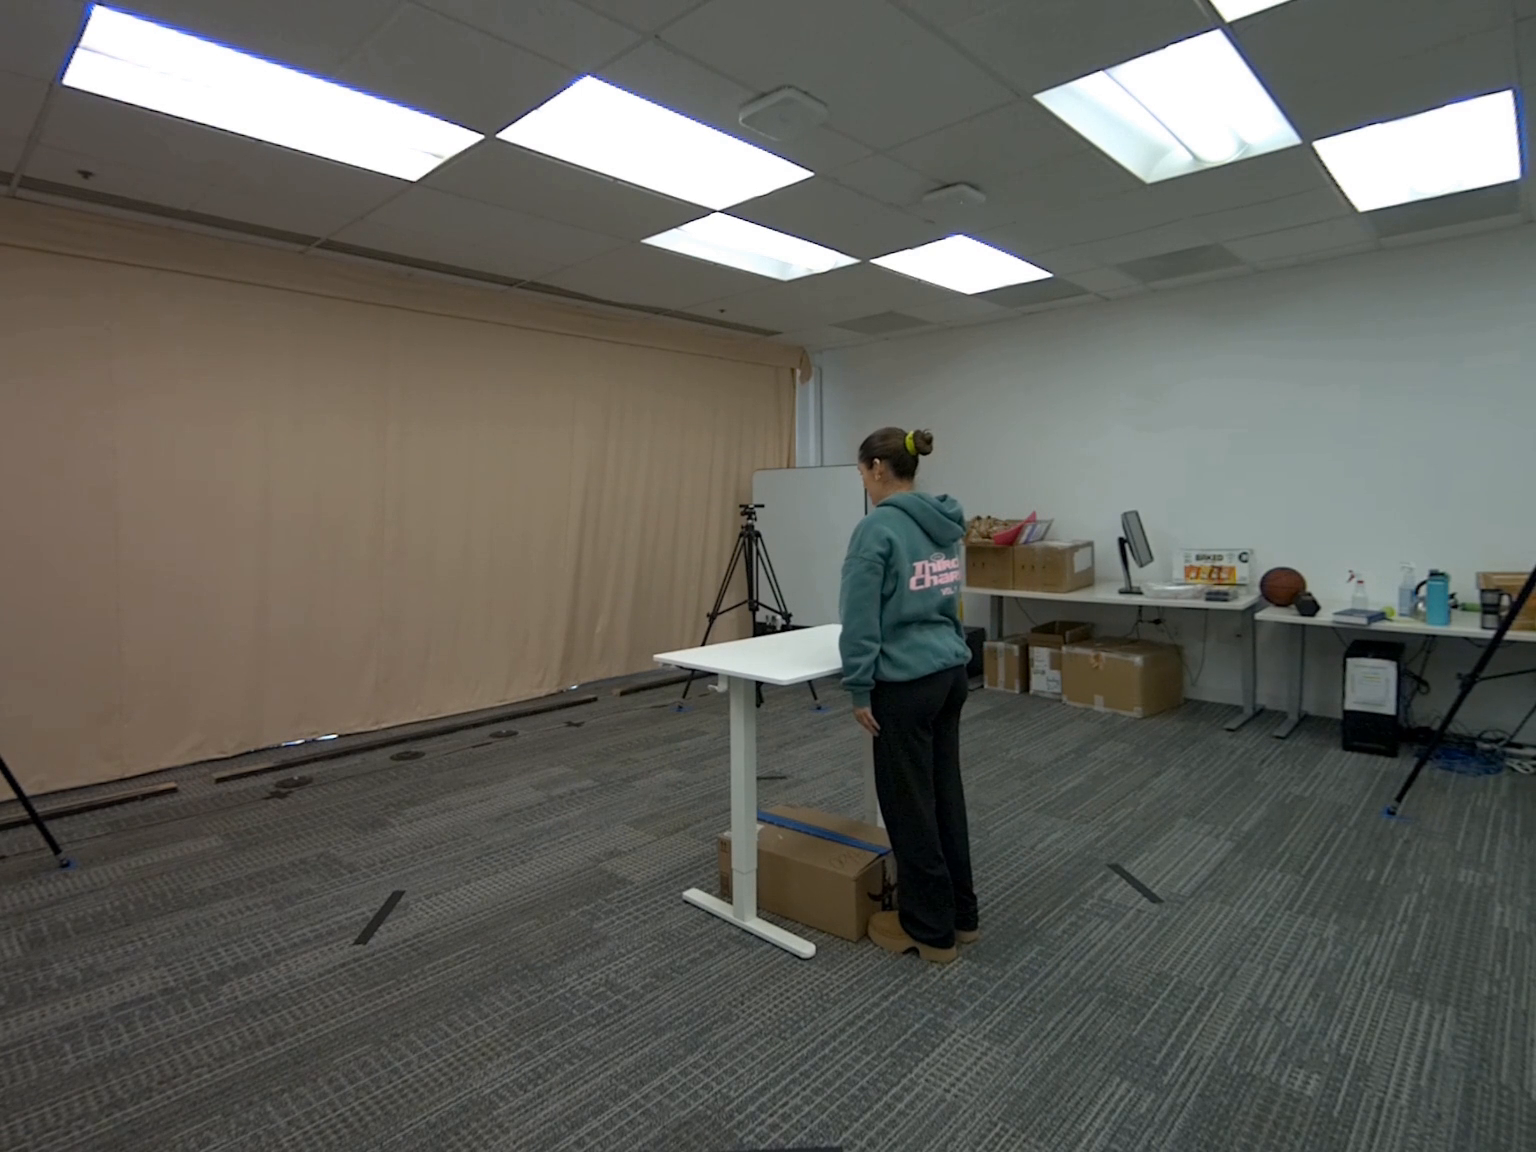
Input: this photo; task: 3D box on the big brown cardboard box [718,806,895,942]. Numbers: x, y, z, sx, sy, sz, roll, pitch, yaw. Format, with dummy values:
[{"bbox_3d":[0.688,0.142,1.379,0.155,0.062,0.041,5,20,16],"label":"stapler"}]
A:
[{"bbox_3d":[0.171,1.018,2.994,0.608,0.232,0.405,4,7,38],"label":"big brown cardboard box"}]
